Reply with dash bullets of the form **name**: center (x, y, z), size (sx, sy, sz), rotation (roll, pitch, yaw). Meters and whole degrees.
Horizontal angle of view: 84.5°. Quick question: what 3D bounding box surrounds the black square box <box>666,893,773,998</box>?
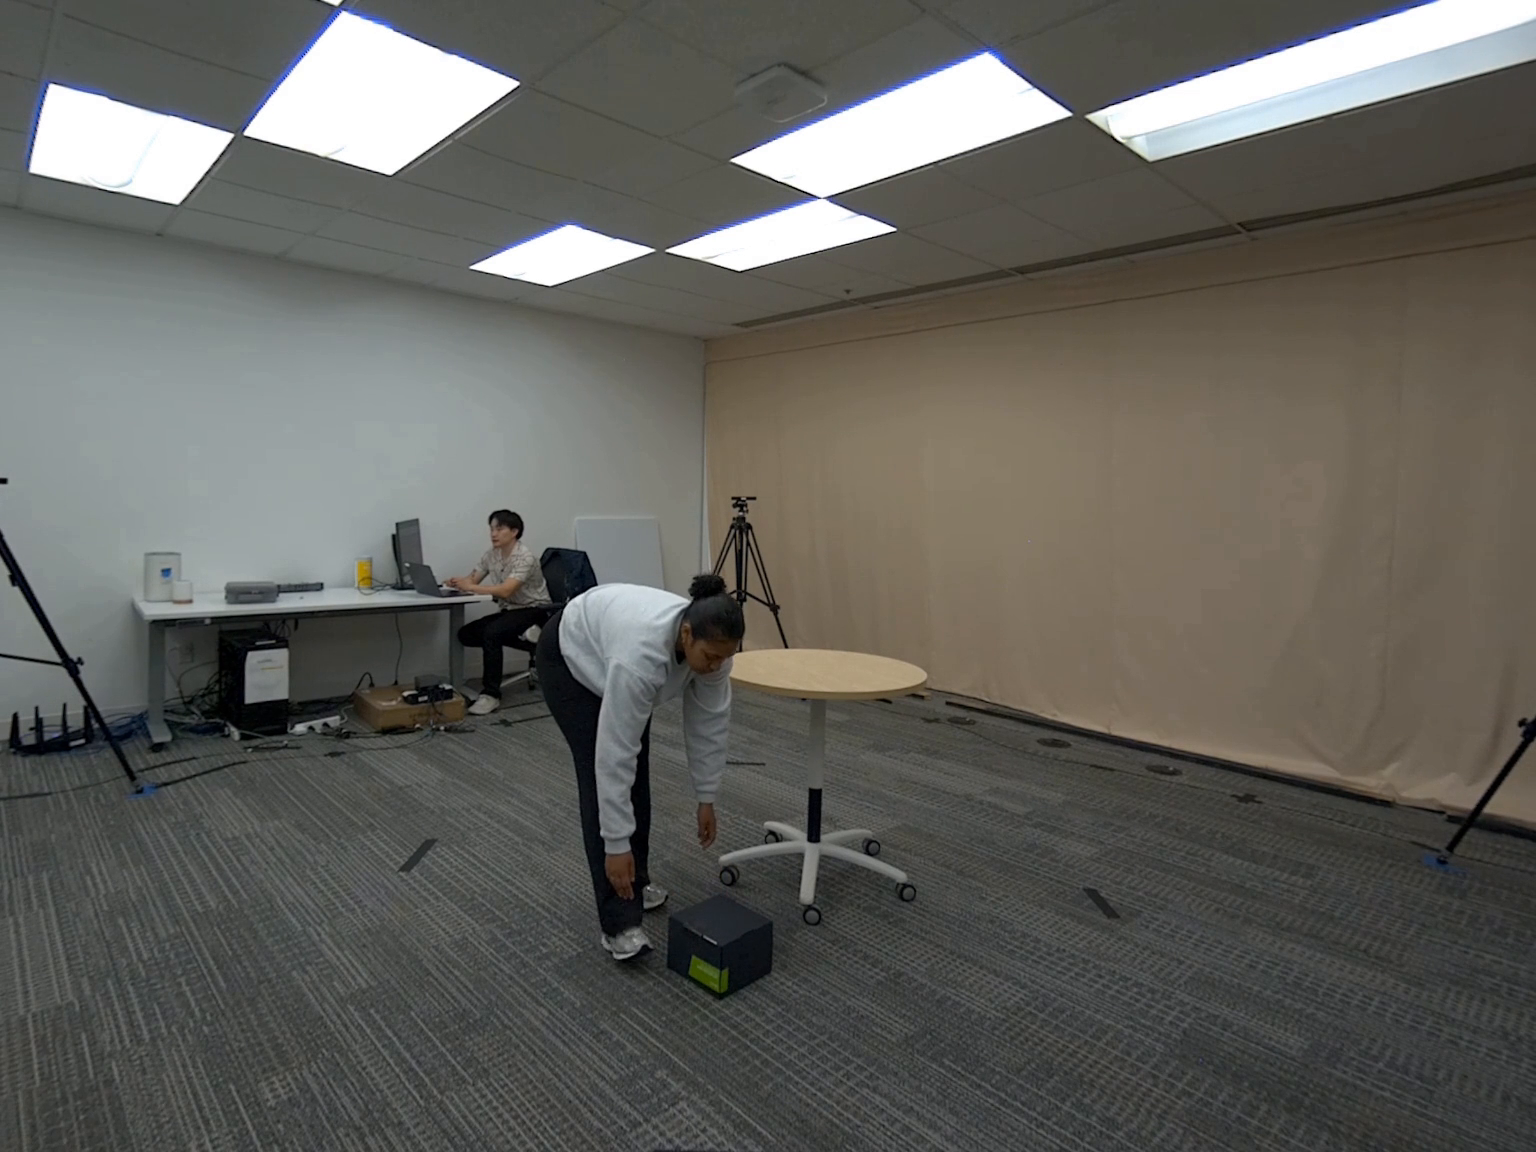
- **black square box**: center (-0.147, 1.080, 2.474), size (0.234, 0.155, 0.212), rotation (7, 7, 44)
